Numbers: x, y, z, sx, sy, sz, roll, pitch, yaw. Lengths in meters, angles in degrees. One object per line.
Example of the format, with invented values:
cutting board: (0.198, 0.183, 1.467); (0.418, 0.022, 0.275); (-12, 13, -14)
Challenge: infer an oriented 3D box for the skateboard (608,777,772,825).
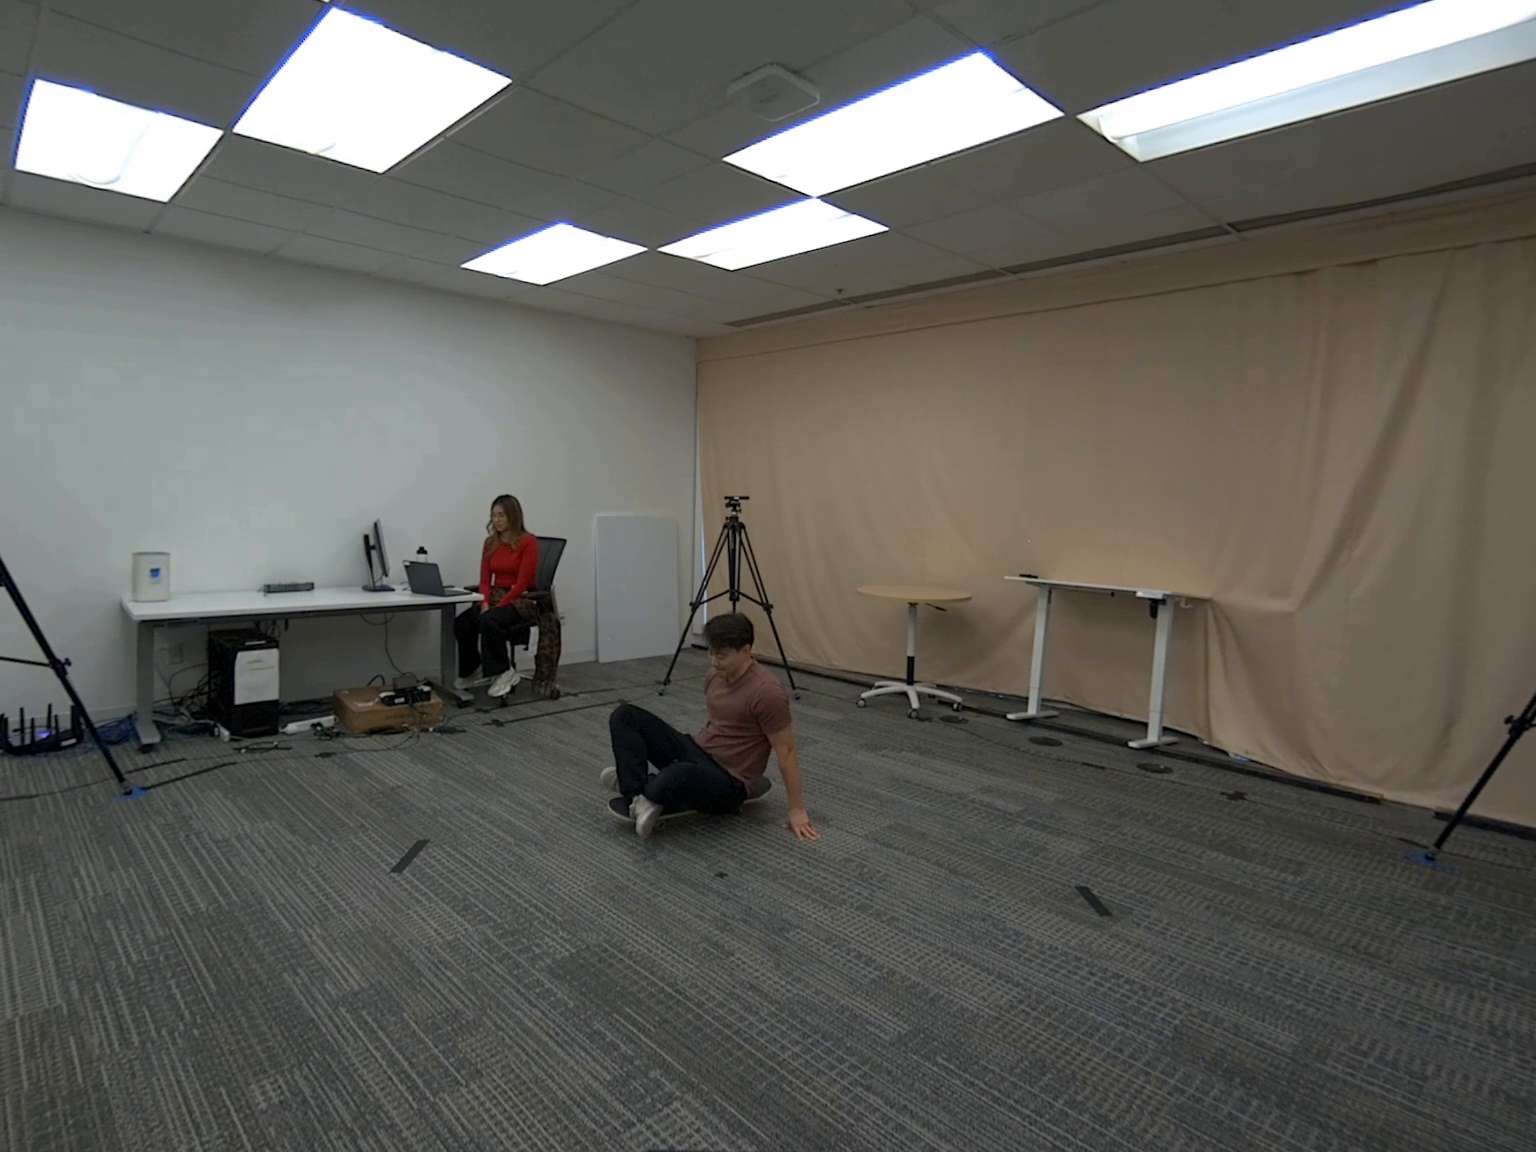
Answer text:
skateboard: (-0.337, 1.004, 3.672); (0.769, 0.109, 0.199); (-1, 16, -32)
